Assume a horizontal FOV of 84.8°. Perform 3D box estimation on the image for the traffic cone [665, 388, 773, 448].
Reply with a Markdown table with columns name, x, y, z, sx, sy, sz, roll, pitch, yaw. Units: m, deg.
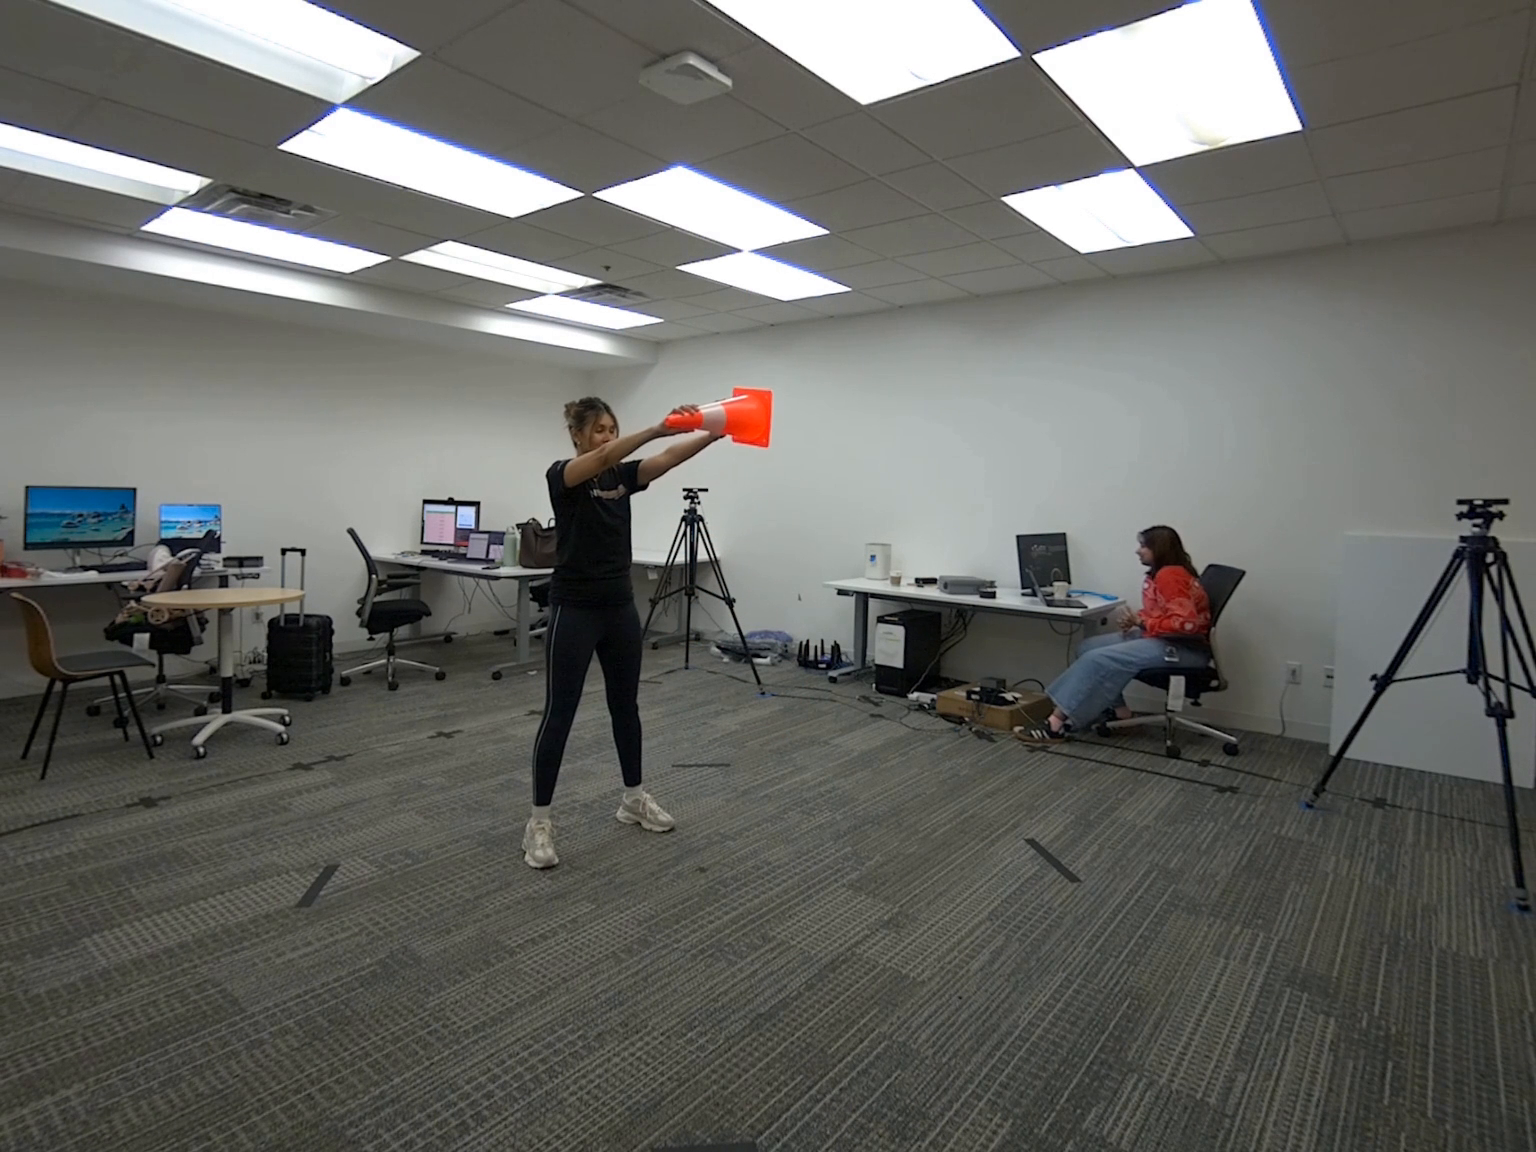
| name | x | y | z | sx | sy | sz | roll | pitch | yaw |
| --- | --- | --- | --- | --- | --- | --- | --- | --- | --- |
| traffic cone | -0.201 | -0.525 | 2.863 | 0.374 | 0.202 | 0.211 | -13 | 21 | -41 |
